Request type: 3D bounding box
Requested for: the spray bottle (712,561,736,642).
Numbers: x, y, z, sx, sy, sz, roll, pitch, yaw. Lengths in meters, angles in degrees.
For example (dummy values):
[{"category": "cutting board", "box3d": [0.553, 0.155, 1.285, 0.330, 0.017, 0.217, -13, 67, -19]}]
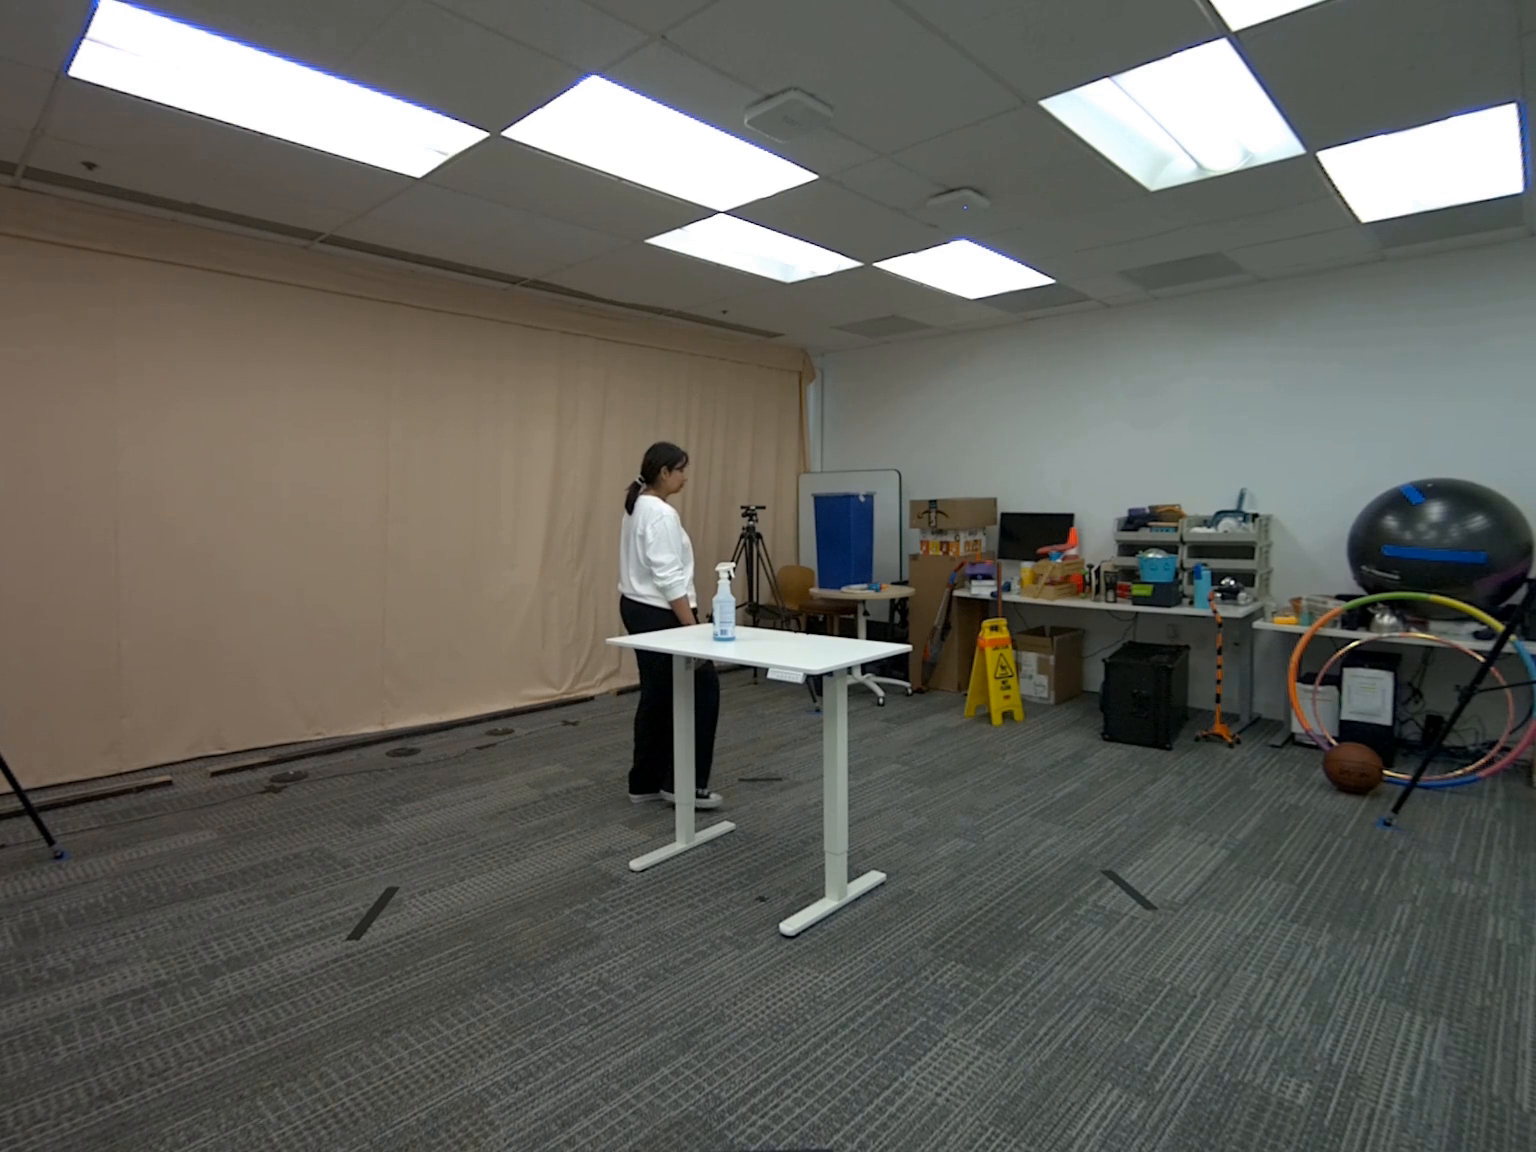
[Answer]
[{"category": "spray bottle", "box3d": [-0.163, 0.098, 3.207, 0.085, 0.296, 0.092, -2, 5, -27]}]
